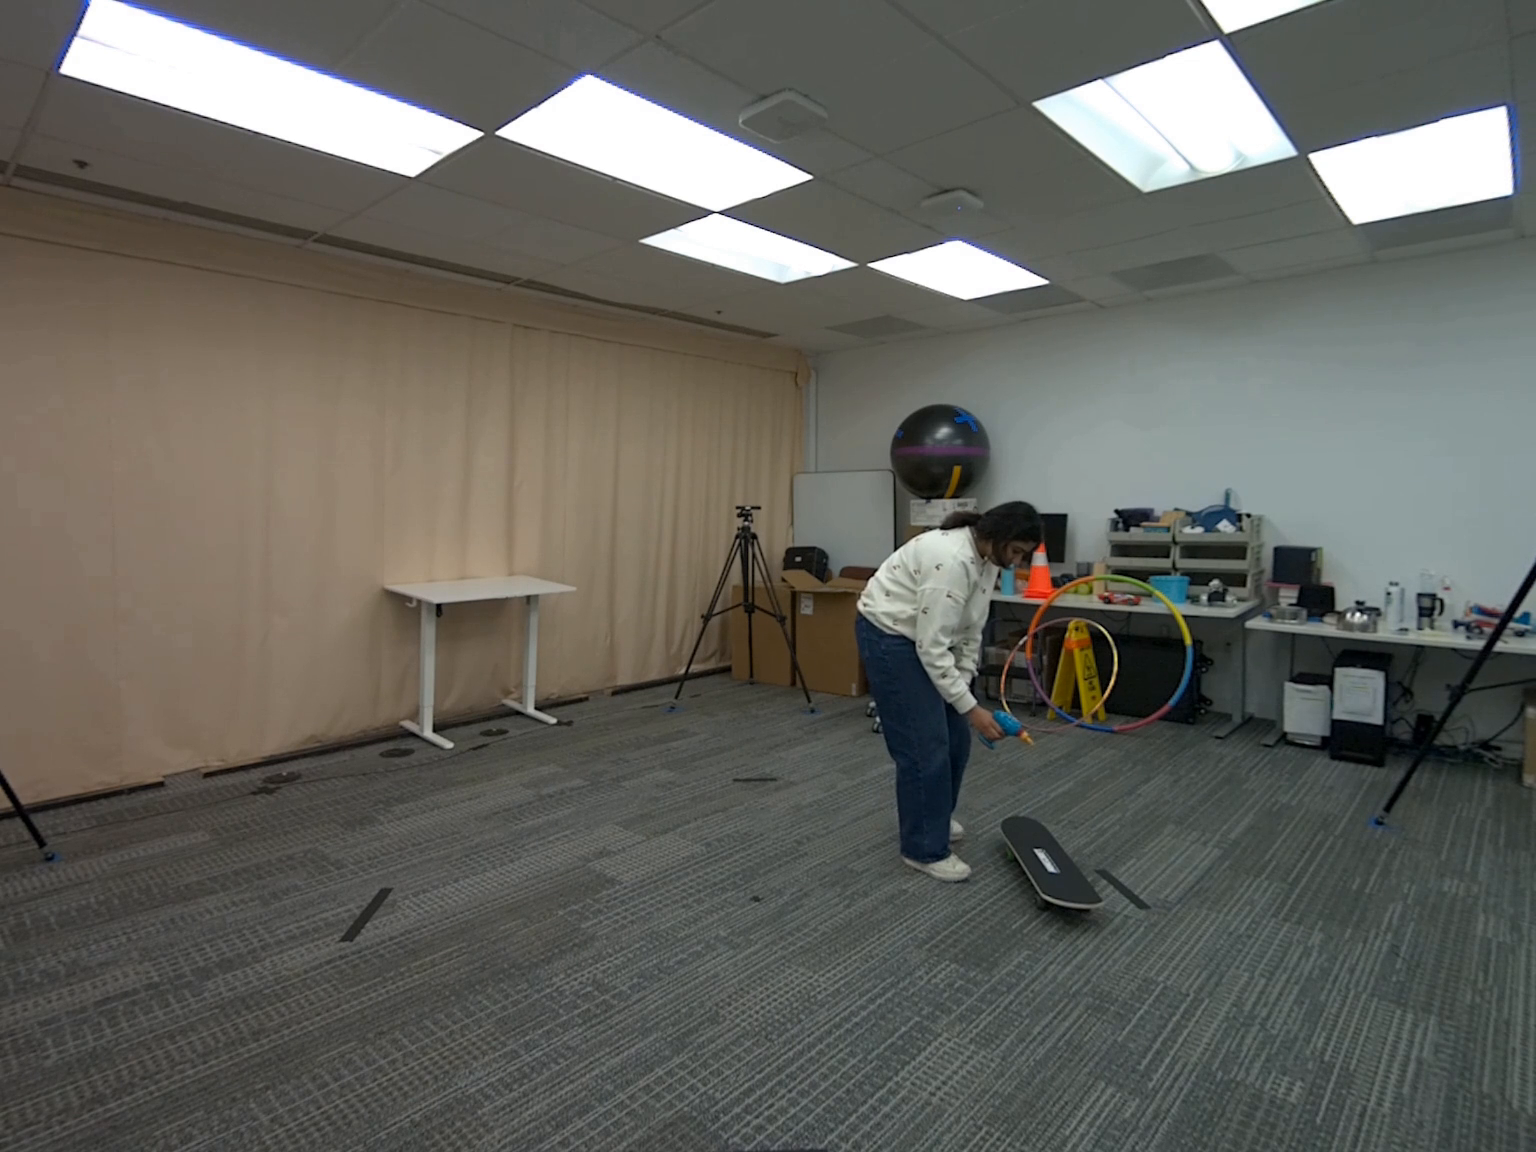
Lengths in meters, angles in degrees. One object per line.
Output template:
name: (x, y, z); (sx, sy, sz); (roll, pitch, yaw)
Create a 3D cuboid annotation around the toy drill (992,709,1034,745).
toy drill: (0.842, 0.562, 2.968); (0.173, 0.146, 0.060); (41, 32, 15)
